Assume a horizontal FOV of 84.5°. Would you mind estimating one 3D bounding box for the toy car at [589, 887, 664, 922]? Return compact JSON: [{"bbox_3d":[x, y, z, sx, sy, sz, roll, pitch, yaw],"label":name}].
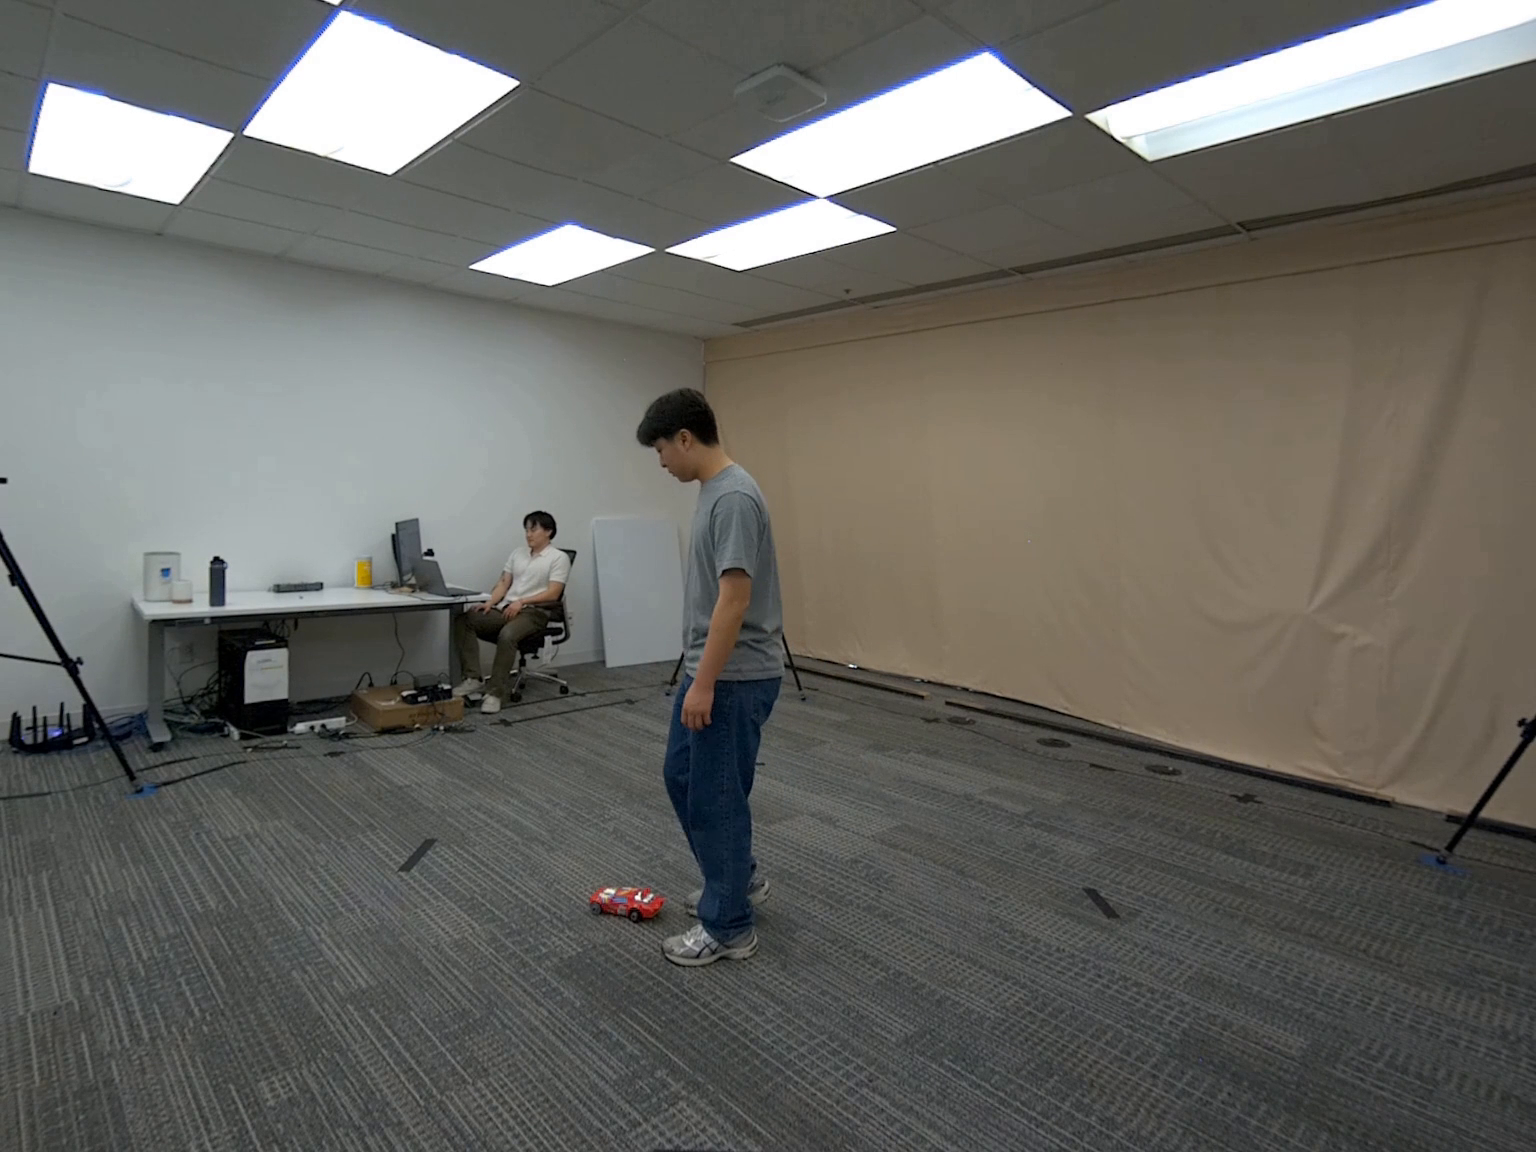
[{"bbox_3d":[-0.470,1.090,2.810,0.258,0.083,0.129,-9,2,20],"label":"toy car"}]
